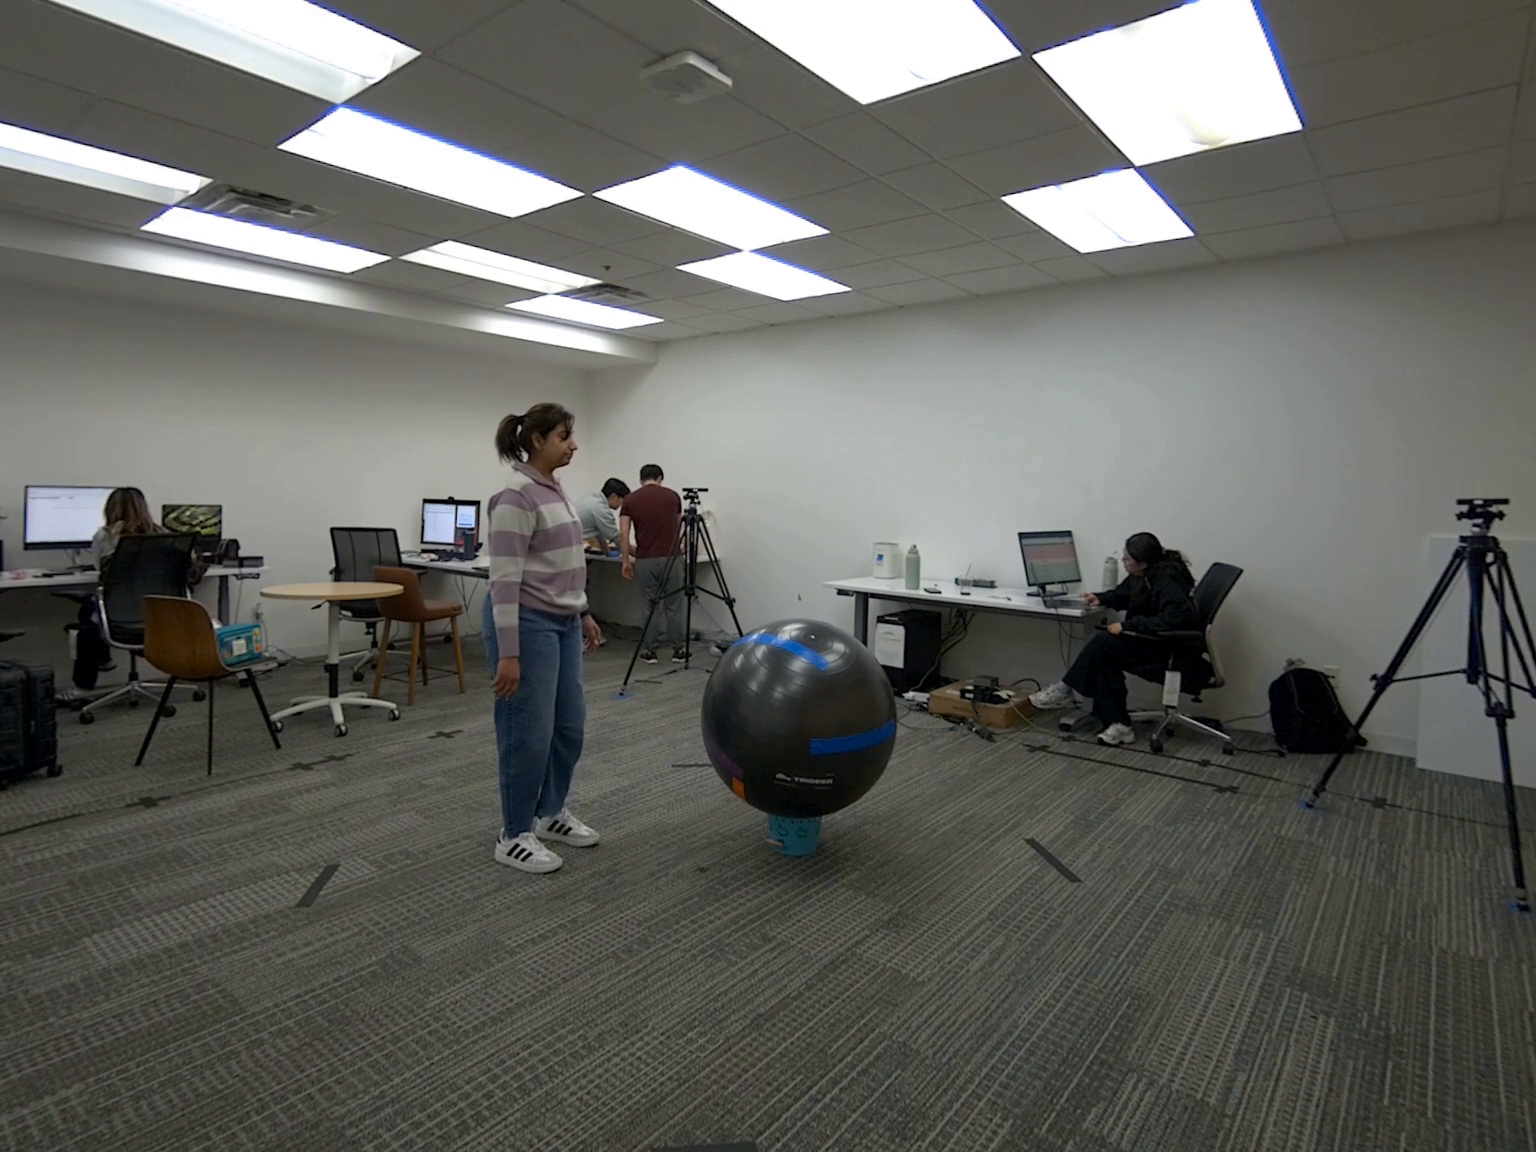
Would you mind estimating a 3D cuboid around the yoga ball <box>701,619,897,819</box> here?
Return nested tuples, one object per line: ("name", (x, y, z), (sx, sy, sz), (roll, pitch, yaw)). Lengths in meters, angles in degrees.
("yoga ball", (0.108, 0.550, 3.302), (0.757, 0.755, 0.762), (1, 4, -2))
